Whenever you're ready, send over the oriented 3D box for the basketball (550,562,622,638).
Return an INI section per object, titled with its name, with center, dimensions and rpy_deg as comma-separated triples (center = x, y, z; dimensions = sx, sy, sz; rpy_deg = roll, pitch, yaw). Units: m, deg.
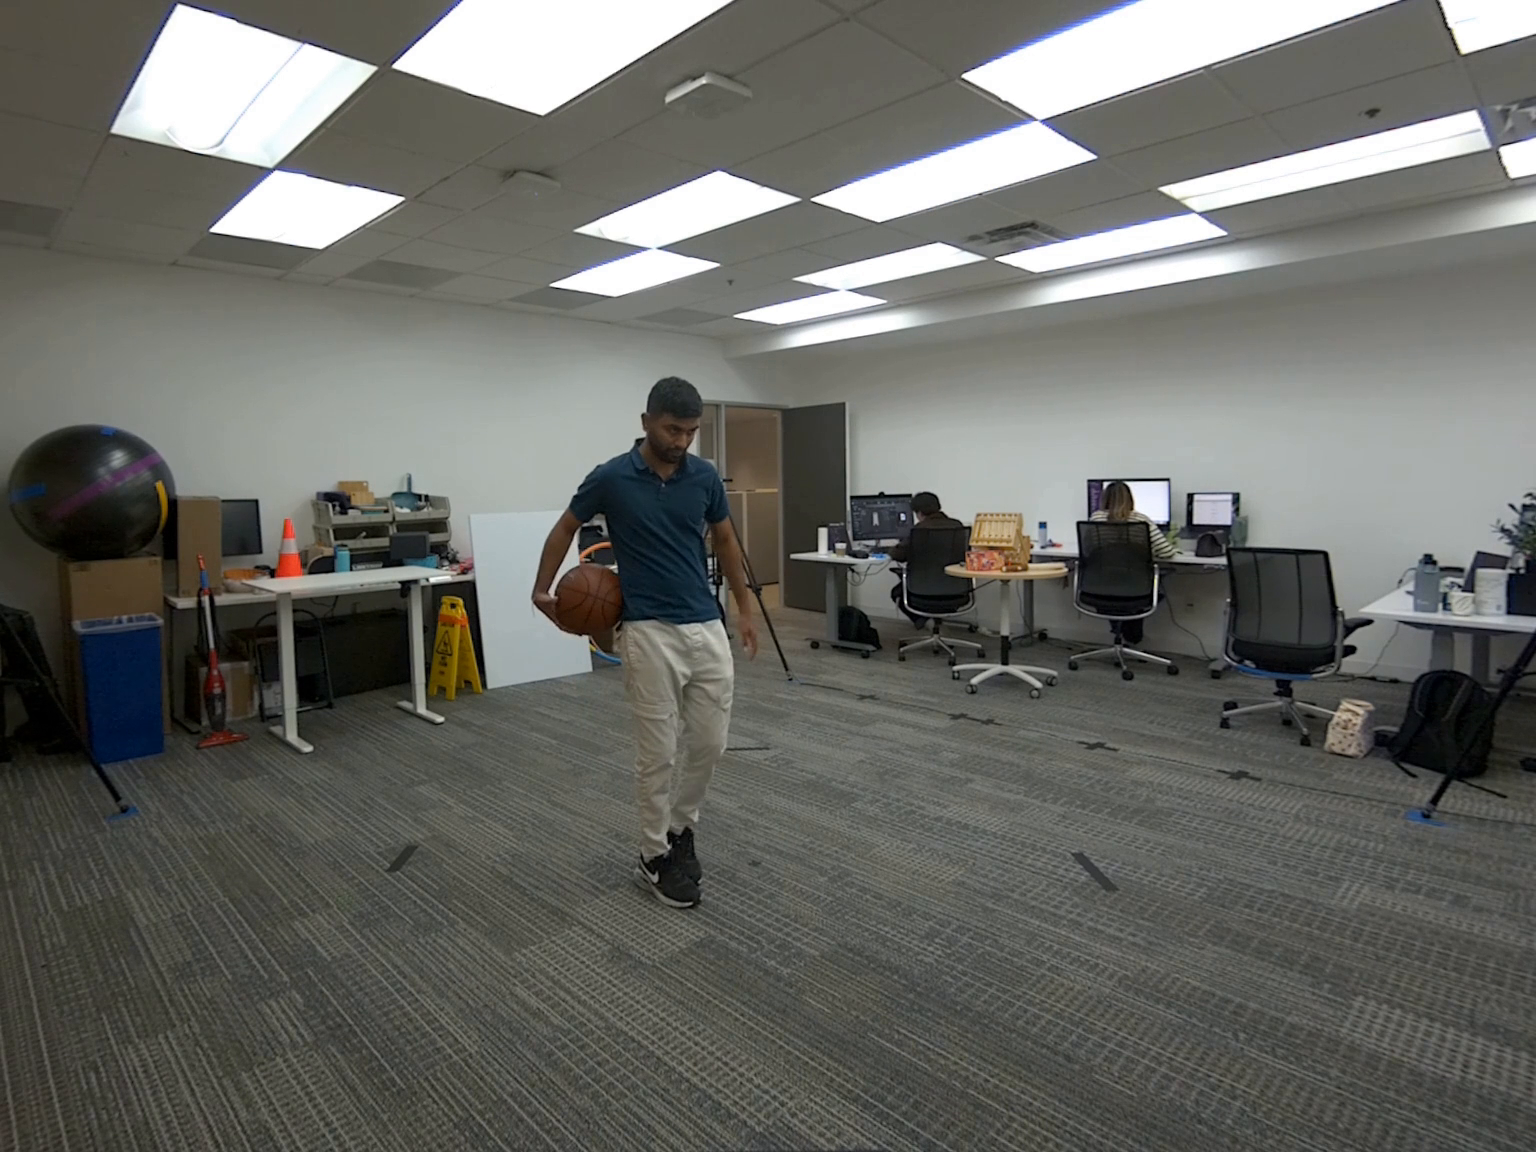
[basketball]
center = -0.579, 0.072, 2.822
dimensions = 0.236, 0.235, 0.237
rpy_deg = -1, 5, -2
